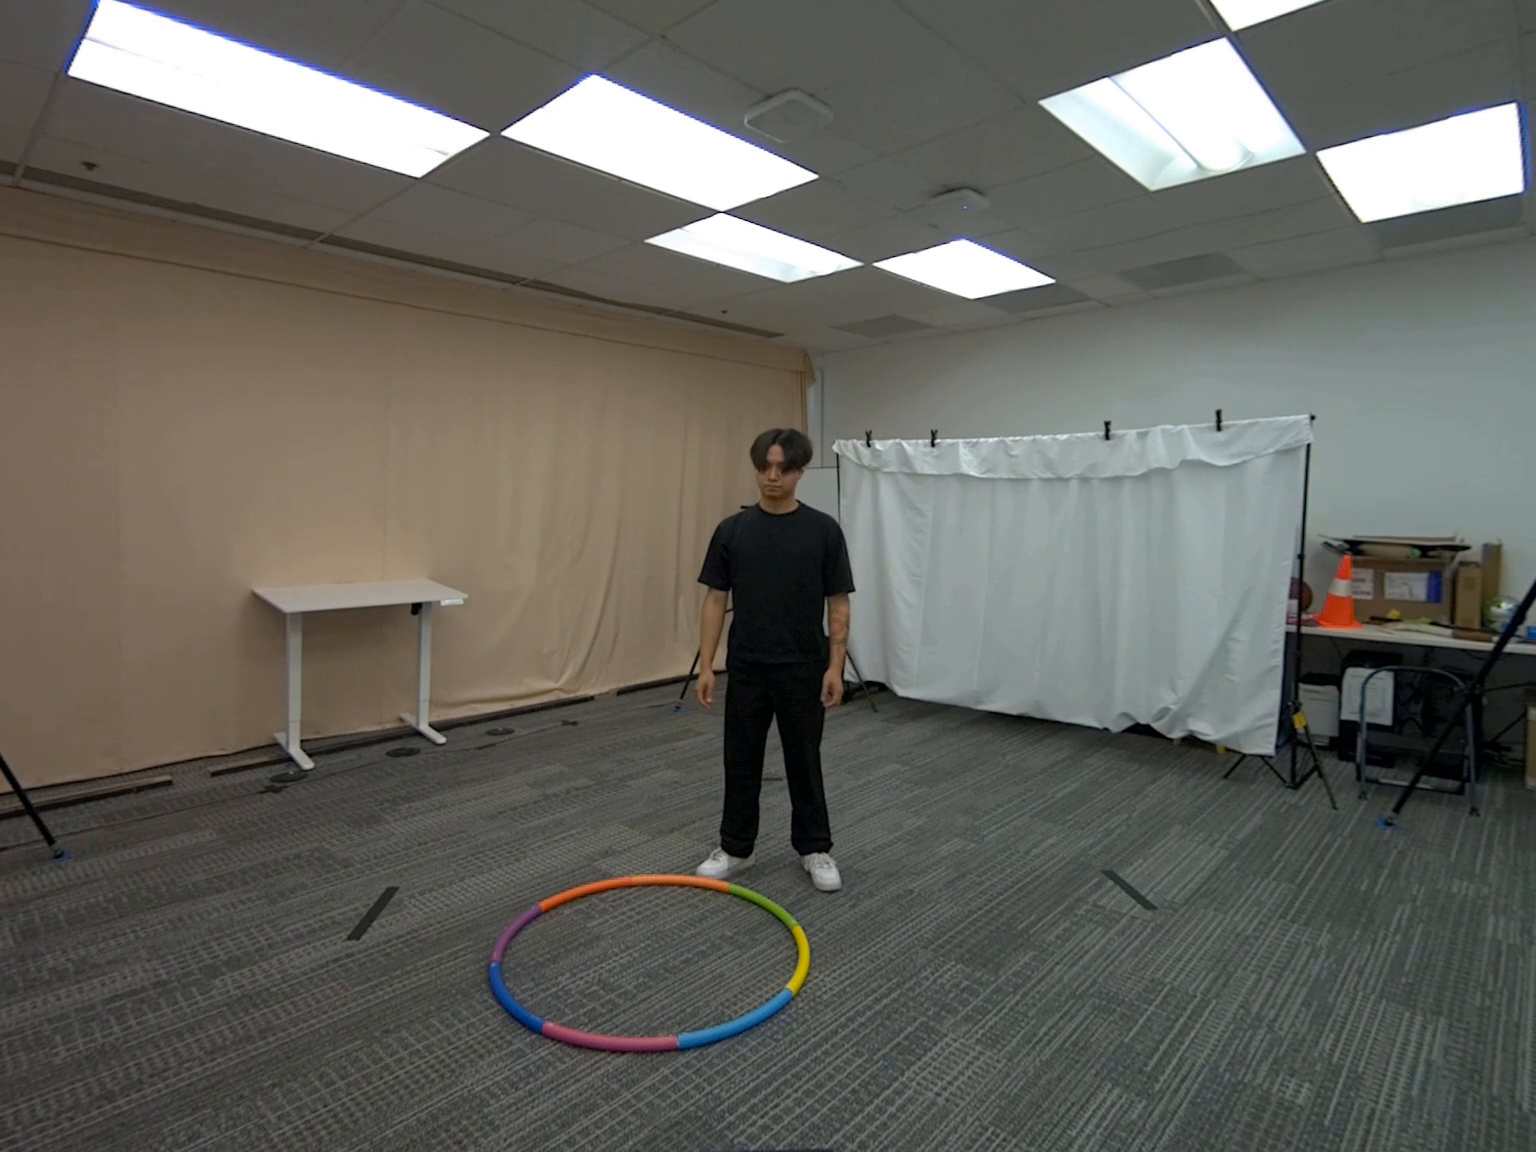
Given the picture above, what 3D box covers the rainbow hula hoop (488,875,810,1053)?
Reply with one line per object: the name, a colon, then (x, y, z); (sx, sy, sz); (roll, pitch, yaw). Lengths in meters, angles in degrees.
rainbow hula hoop: (-0.362, 1.151, 2.629); (0.978, 0.035, 0.982); (0, 4, -2)
